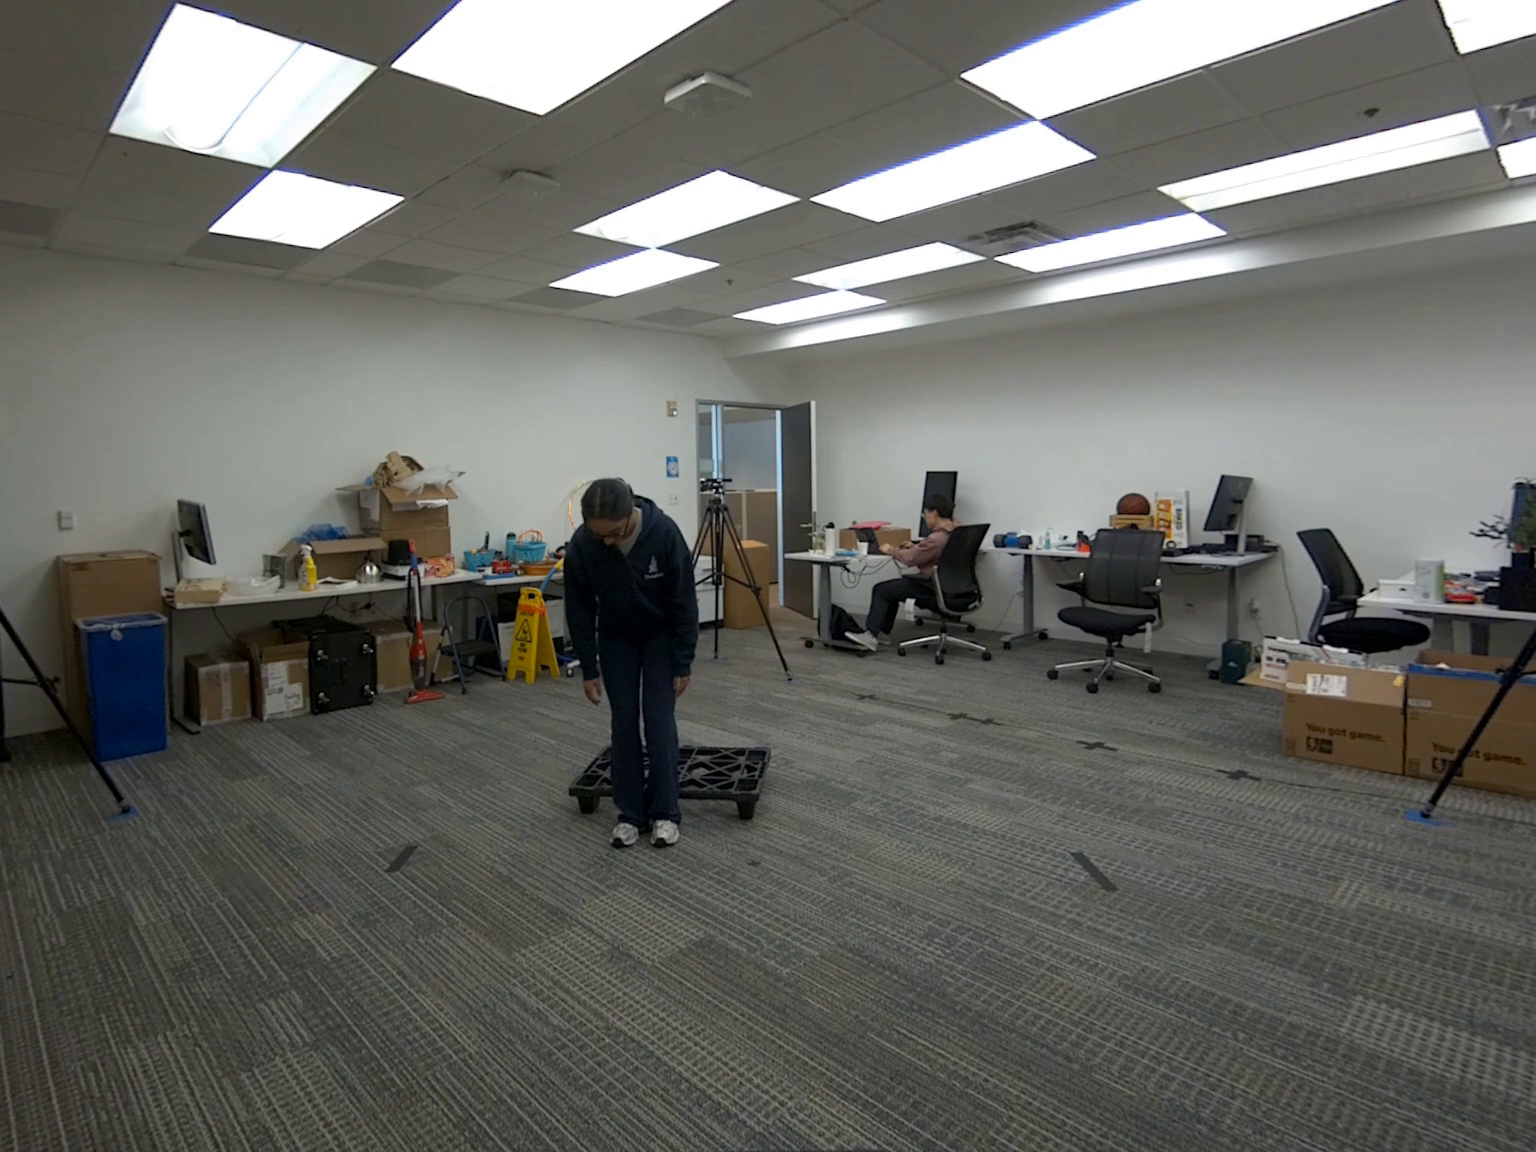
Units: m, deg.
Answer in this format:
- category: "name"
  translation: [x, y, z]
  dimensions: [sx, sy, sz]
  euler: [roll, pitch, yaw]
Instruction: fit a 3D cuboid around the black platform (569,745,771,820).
- category: "black platform"
  translation: [-0.404, 0.906, 3.787]
  dimensions: [0.812, 0.143, 0.603]
  euler: [0, 5, 7]
